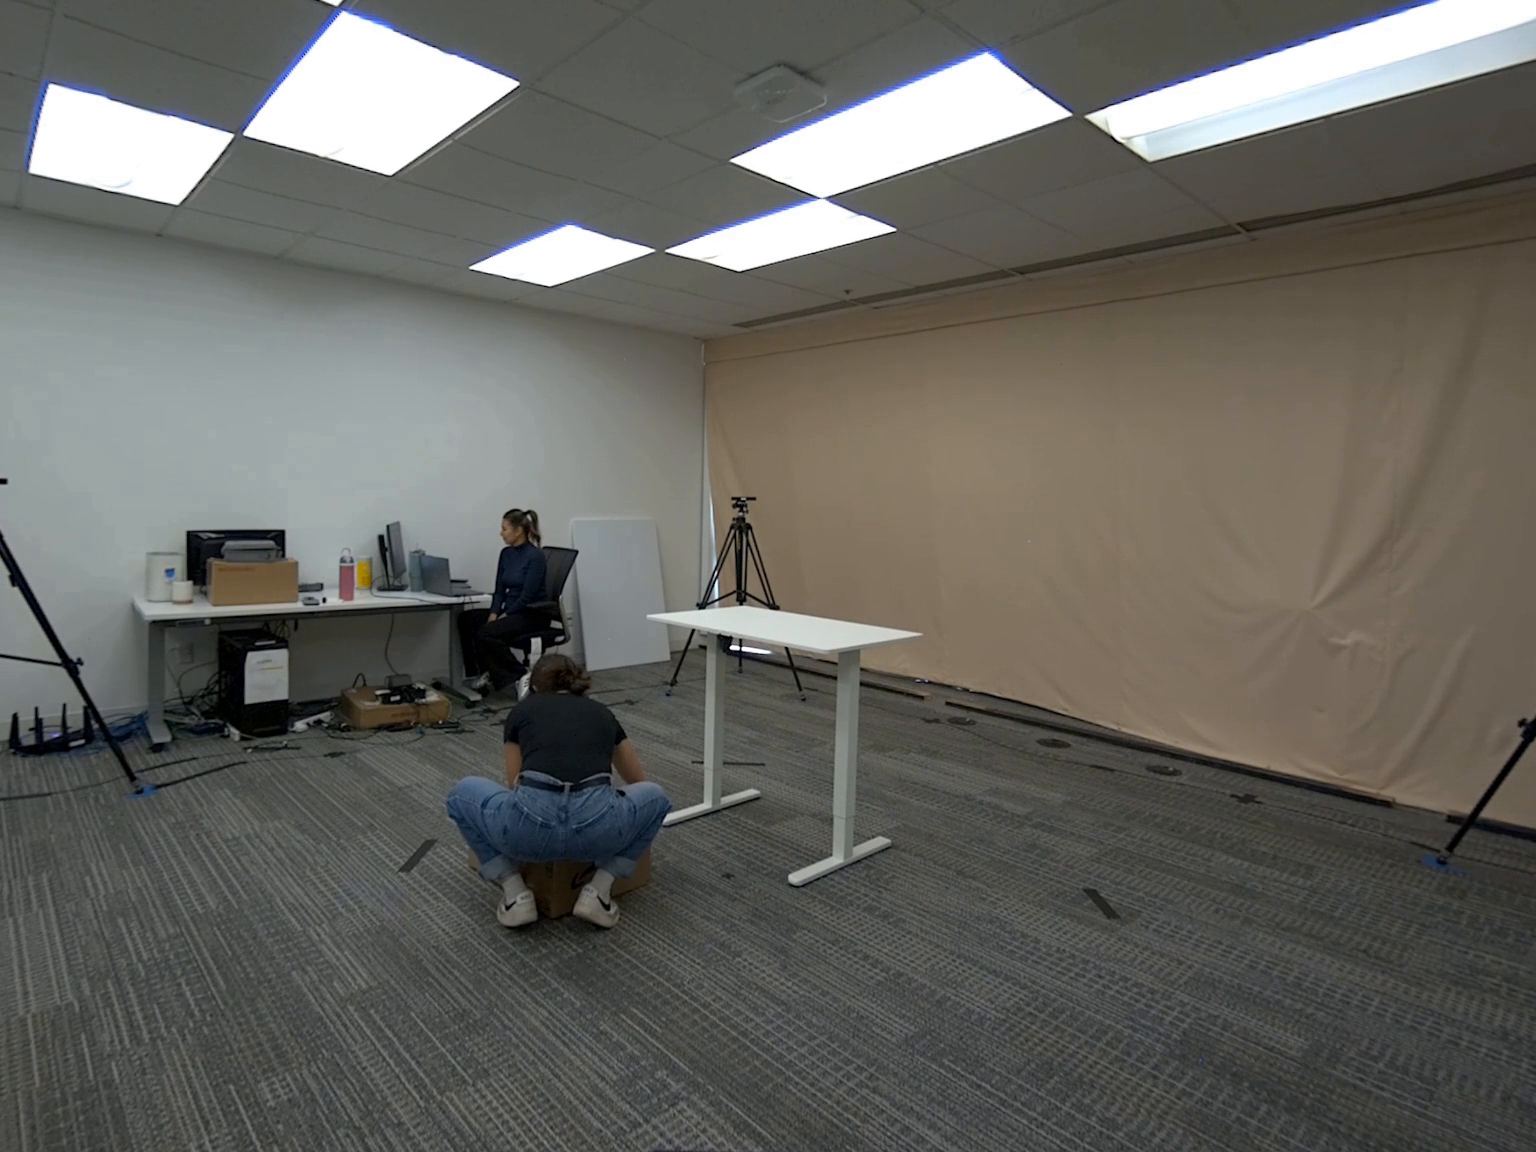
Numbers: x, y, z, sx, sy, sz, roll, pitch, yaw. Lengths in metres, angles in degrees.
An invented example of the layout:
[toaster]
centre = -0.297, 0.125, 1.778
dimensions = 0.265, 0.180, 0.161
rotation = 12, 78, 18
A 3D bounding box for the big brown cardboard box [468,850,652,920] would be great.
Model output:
[big brown cardboard box]
centre = -0.775, 0.987, 3.075
dimensions = 0.604, 0.233, 0.408
rotation = 6, 5, 44
